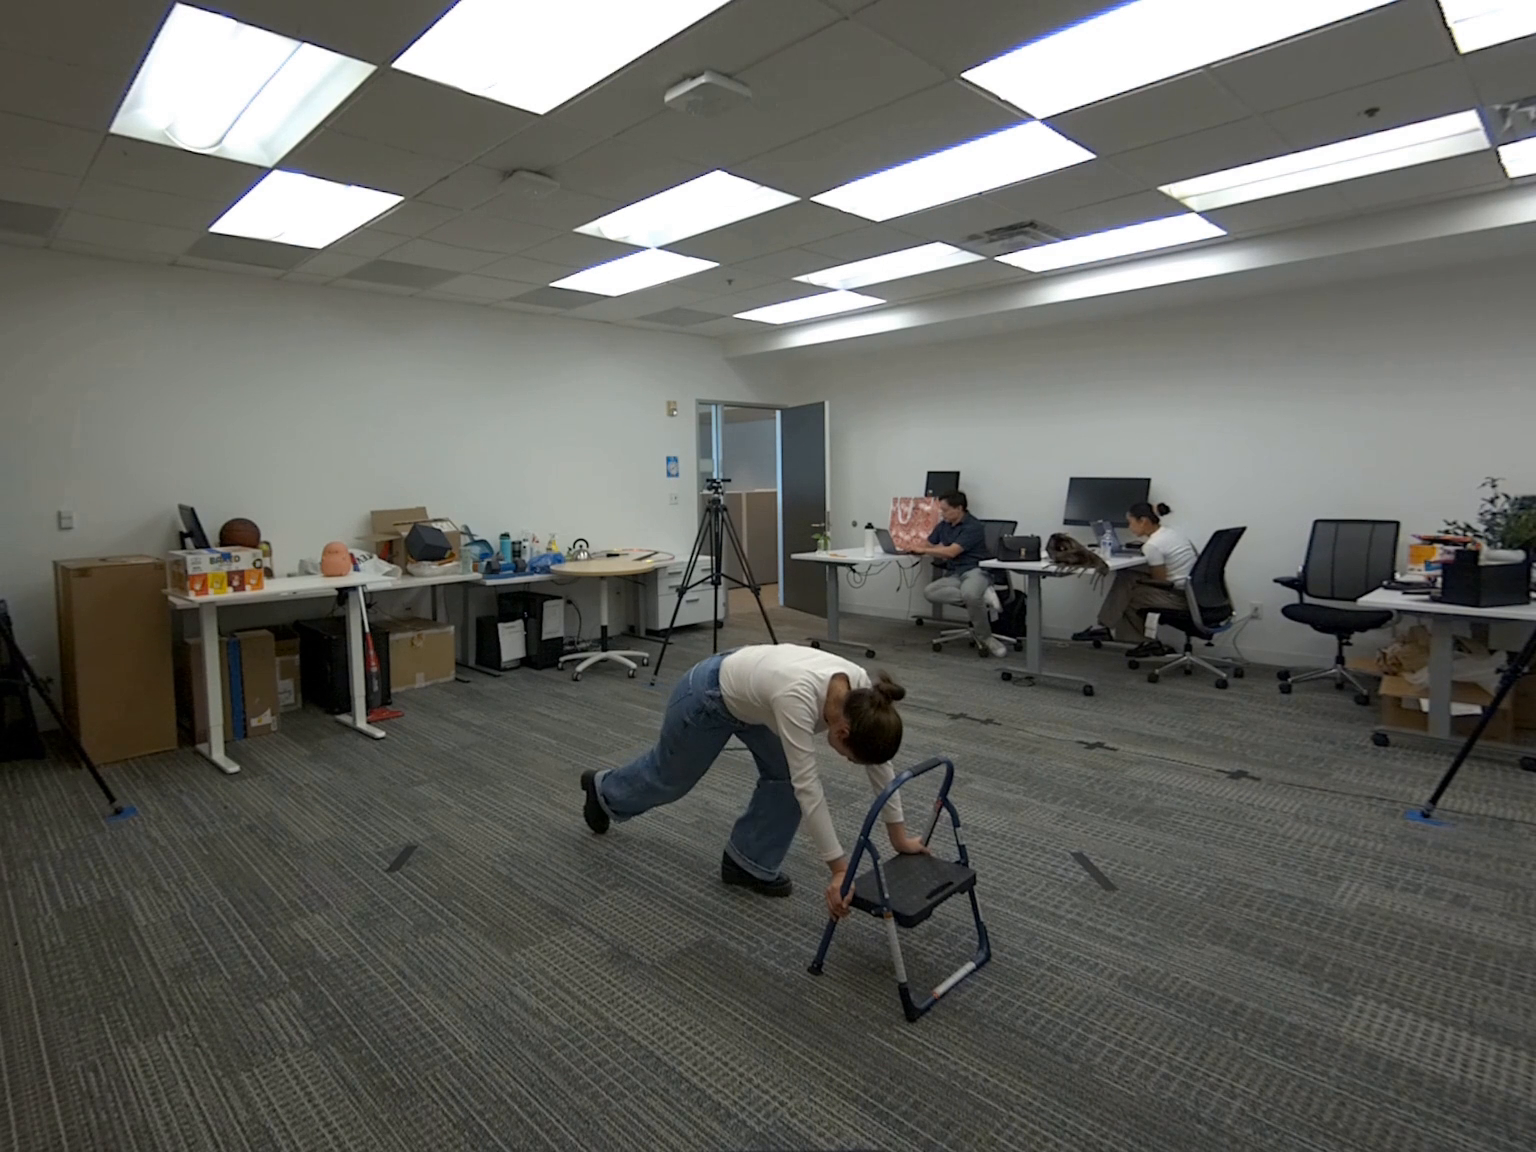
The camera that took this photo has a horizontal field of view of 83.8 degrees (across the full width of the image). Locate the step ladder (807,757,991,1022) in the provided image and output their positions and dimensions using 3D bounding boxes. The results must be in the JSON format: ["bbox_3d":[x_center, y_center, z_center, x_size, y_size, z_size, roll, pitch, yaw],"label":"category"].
[{"bbox_3d":[0.384,0.816,2.424,0.360,0.604,0.419,3,6,43],"label":"step ladder"}]
